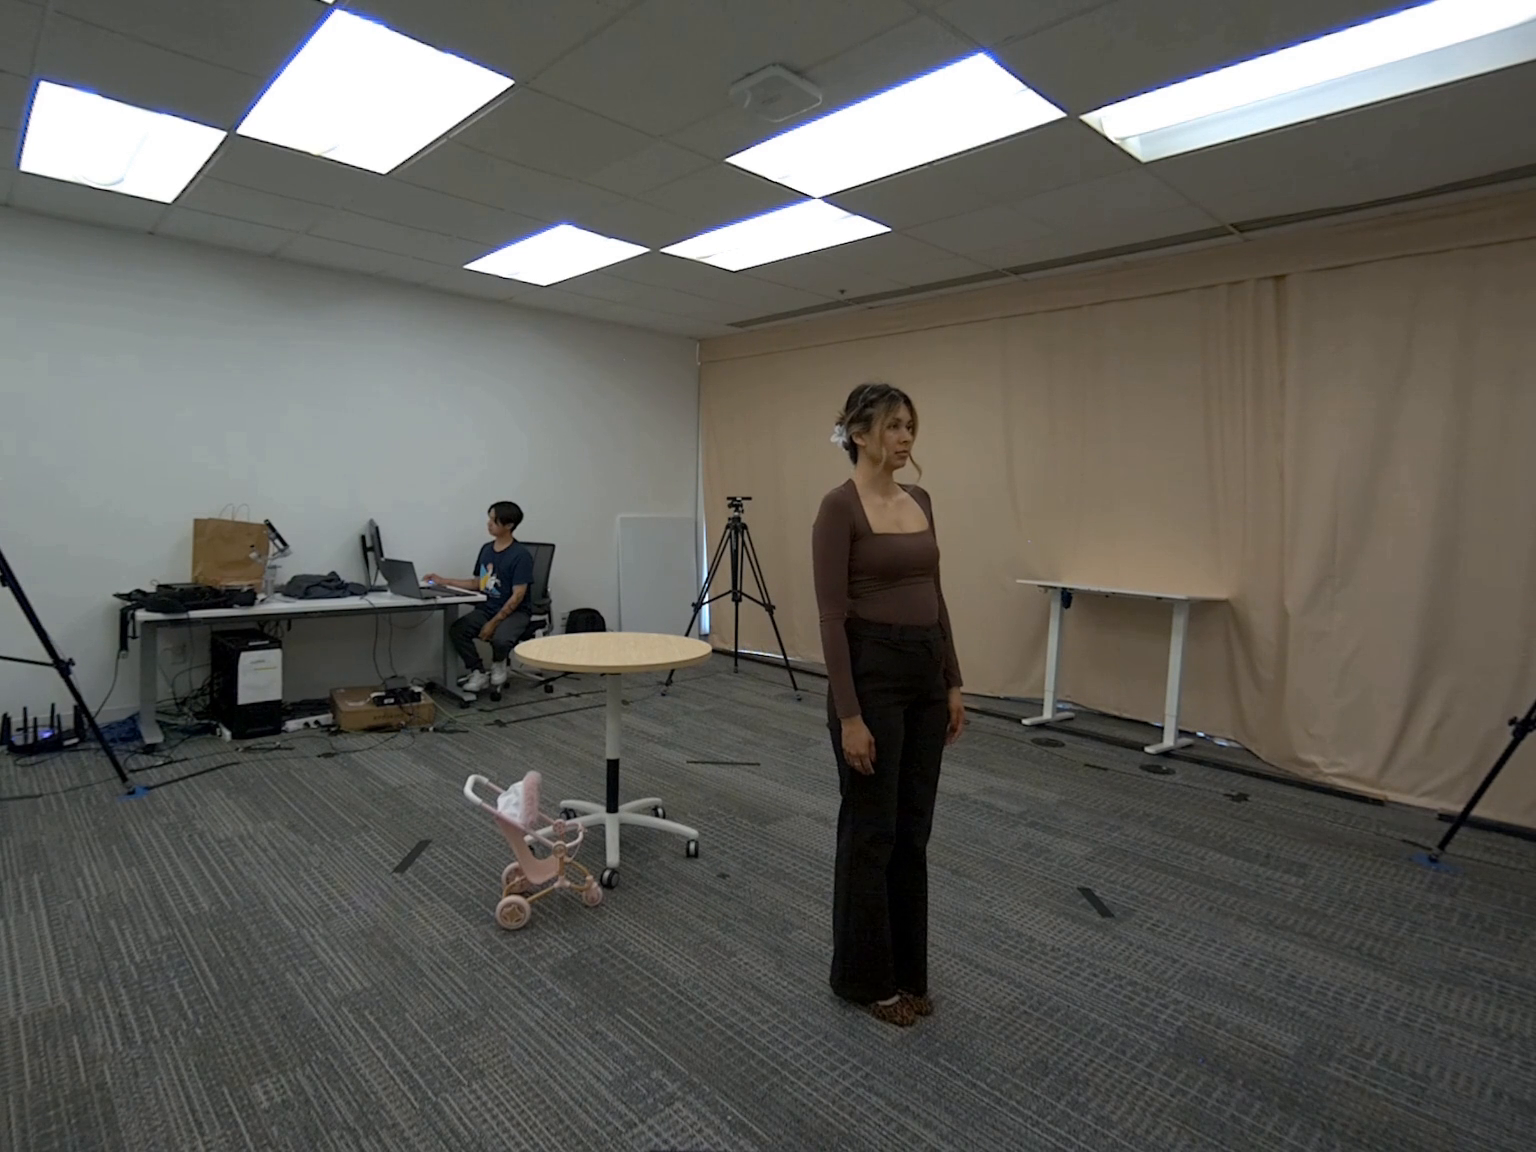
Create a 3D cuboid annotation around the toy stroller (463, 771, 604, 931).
[{"bbox_3d":[-0.781,0.893,2.807,0.340,0.532,0.284,-14,6,-6],"label":"toy stroller"}]
